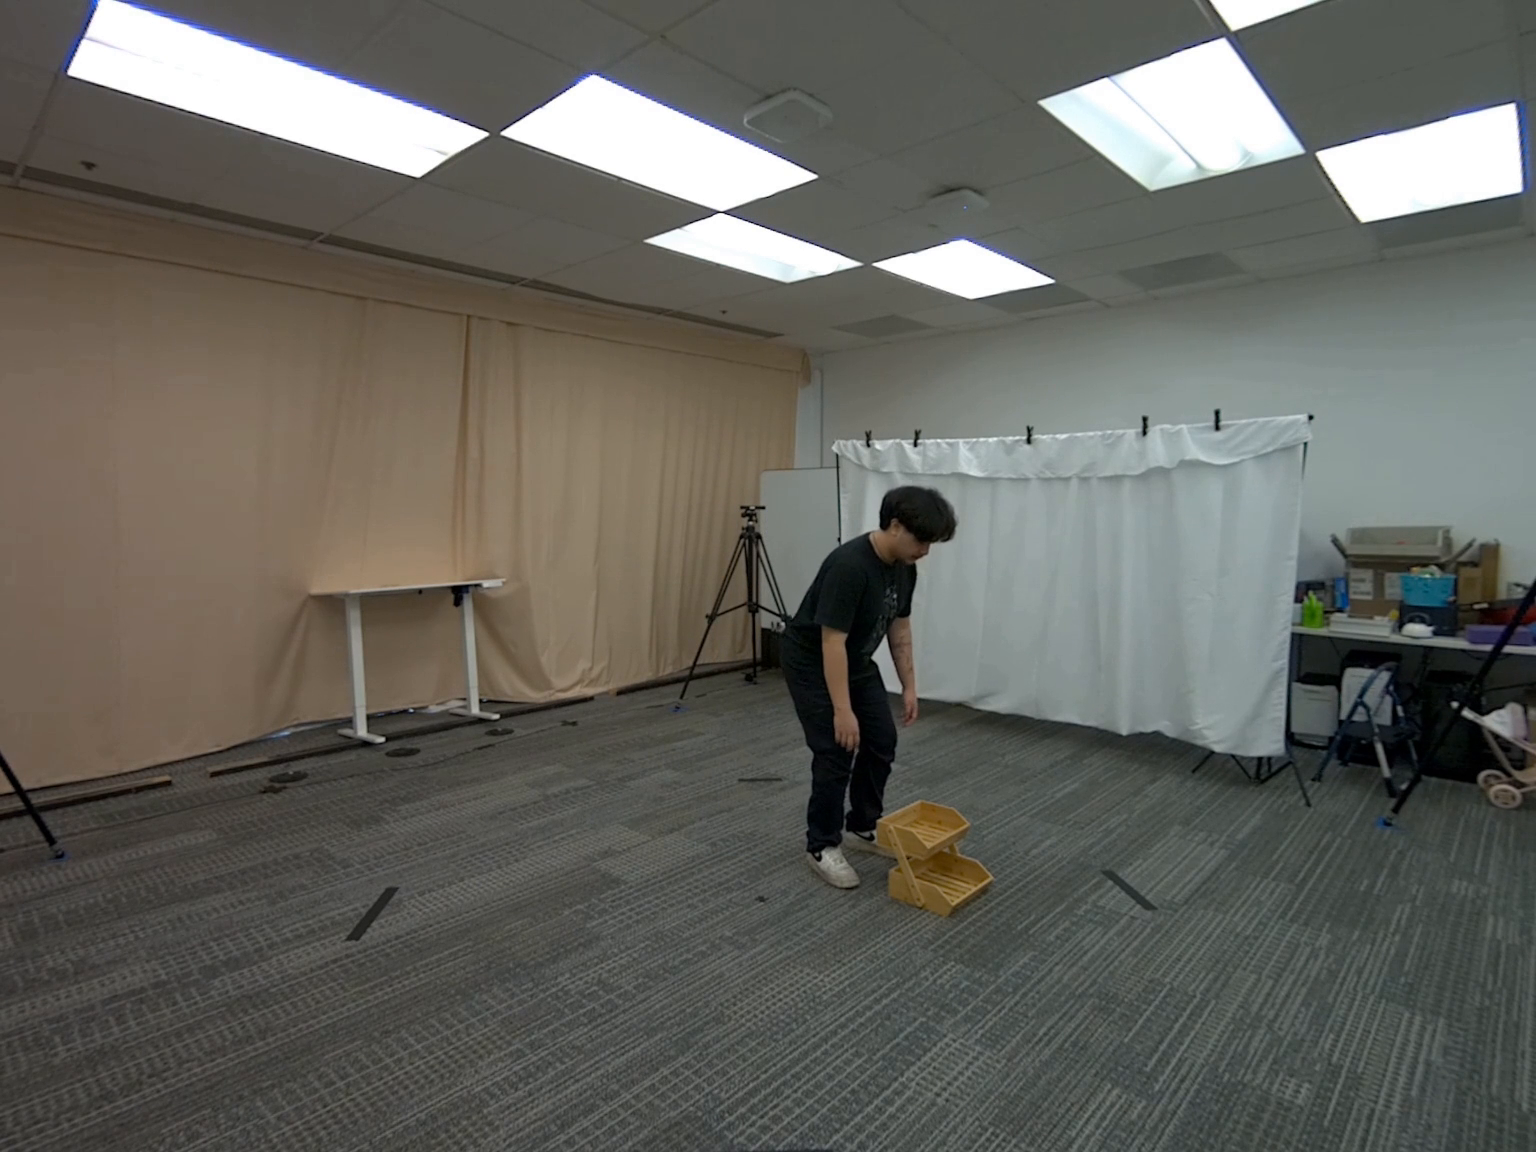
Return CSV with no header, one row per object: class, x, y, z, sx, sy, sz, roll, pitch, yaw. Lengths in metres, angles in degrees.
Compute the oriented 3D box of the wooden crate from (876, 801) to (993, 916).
wooden crate,0.613,1.002,3.032,0.312,0.273,0.314,2,4,42
